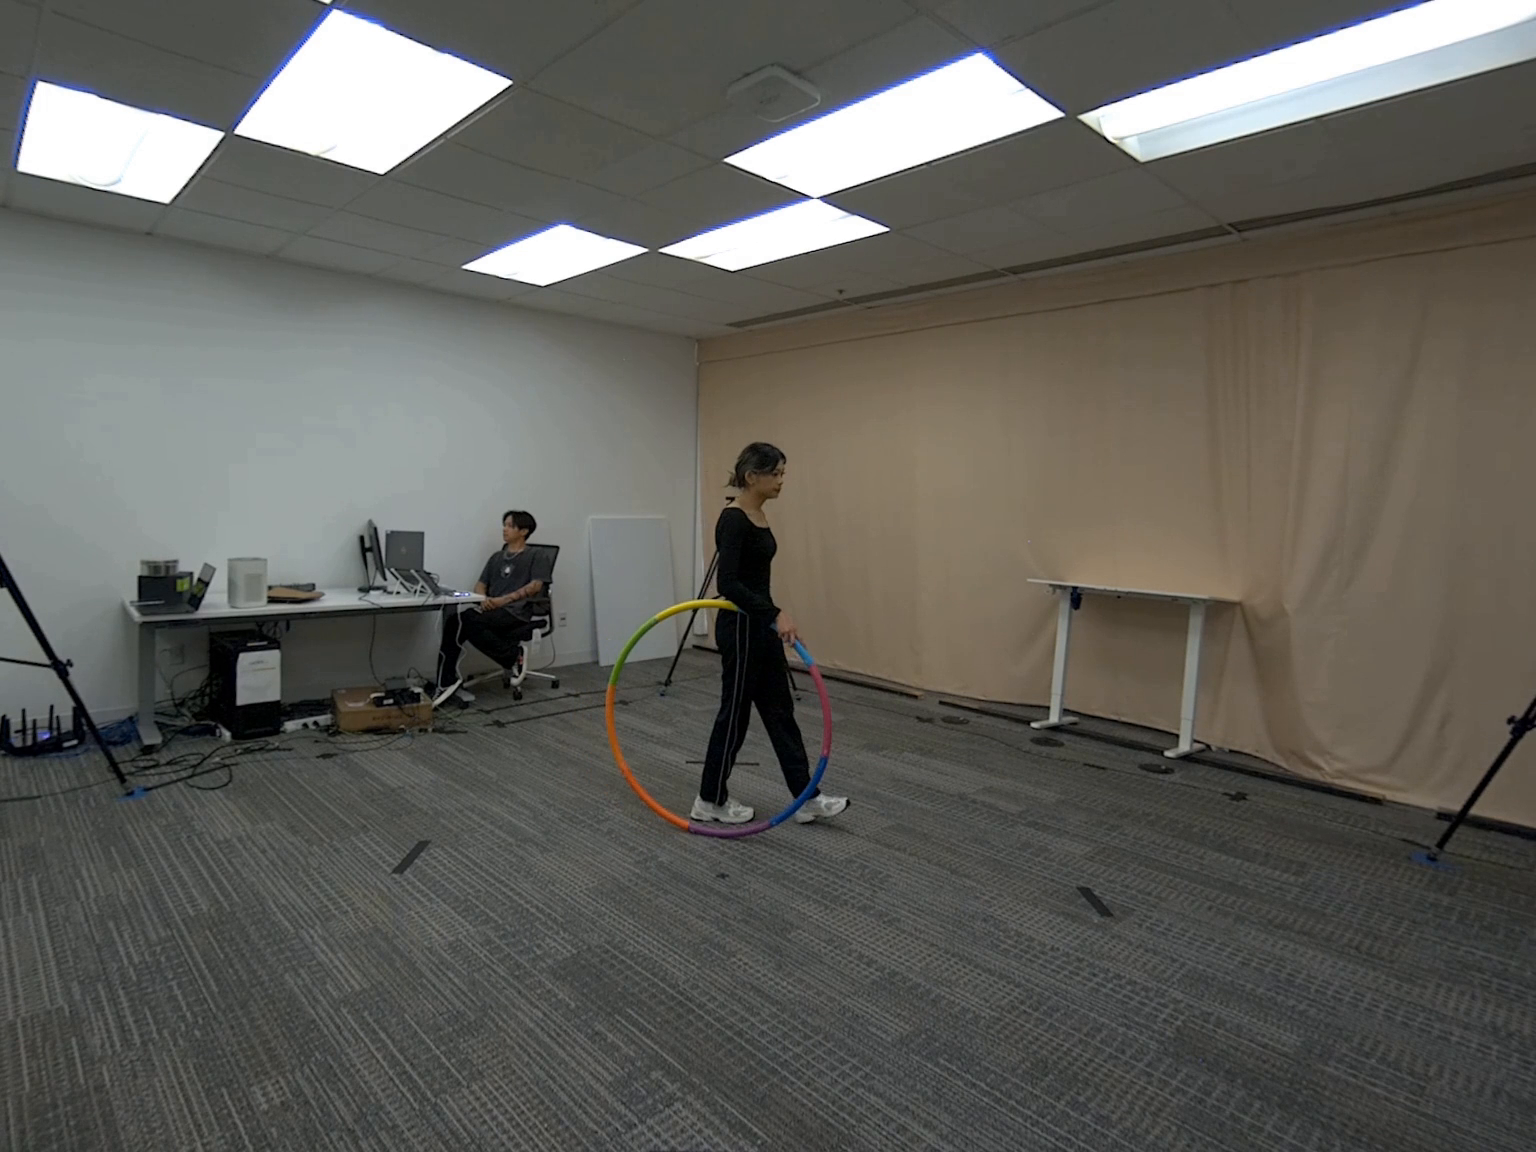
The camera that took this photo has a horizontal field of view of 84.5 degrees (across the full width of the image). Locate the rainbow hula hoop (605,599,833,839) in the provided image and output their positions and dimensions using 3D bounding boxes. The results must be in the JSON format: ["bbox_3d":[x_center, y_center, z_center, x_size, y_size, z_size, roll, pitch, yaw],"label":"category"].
[{"bbox_3d":[-0.231,0.592,3.452,0.994,0.976,0.035,3,3,20],"label":"rainbow hula hoop"}]
